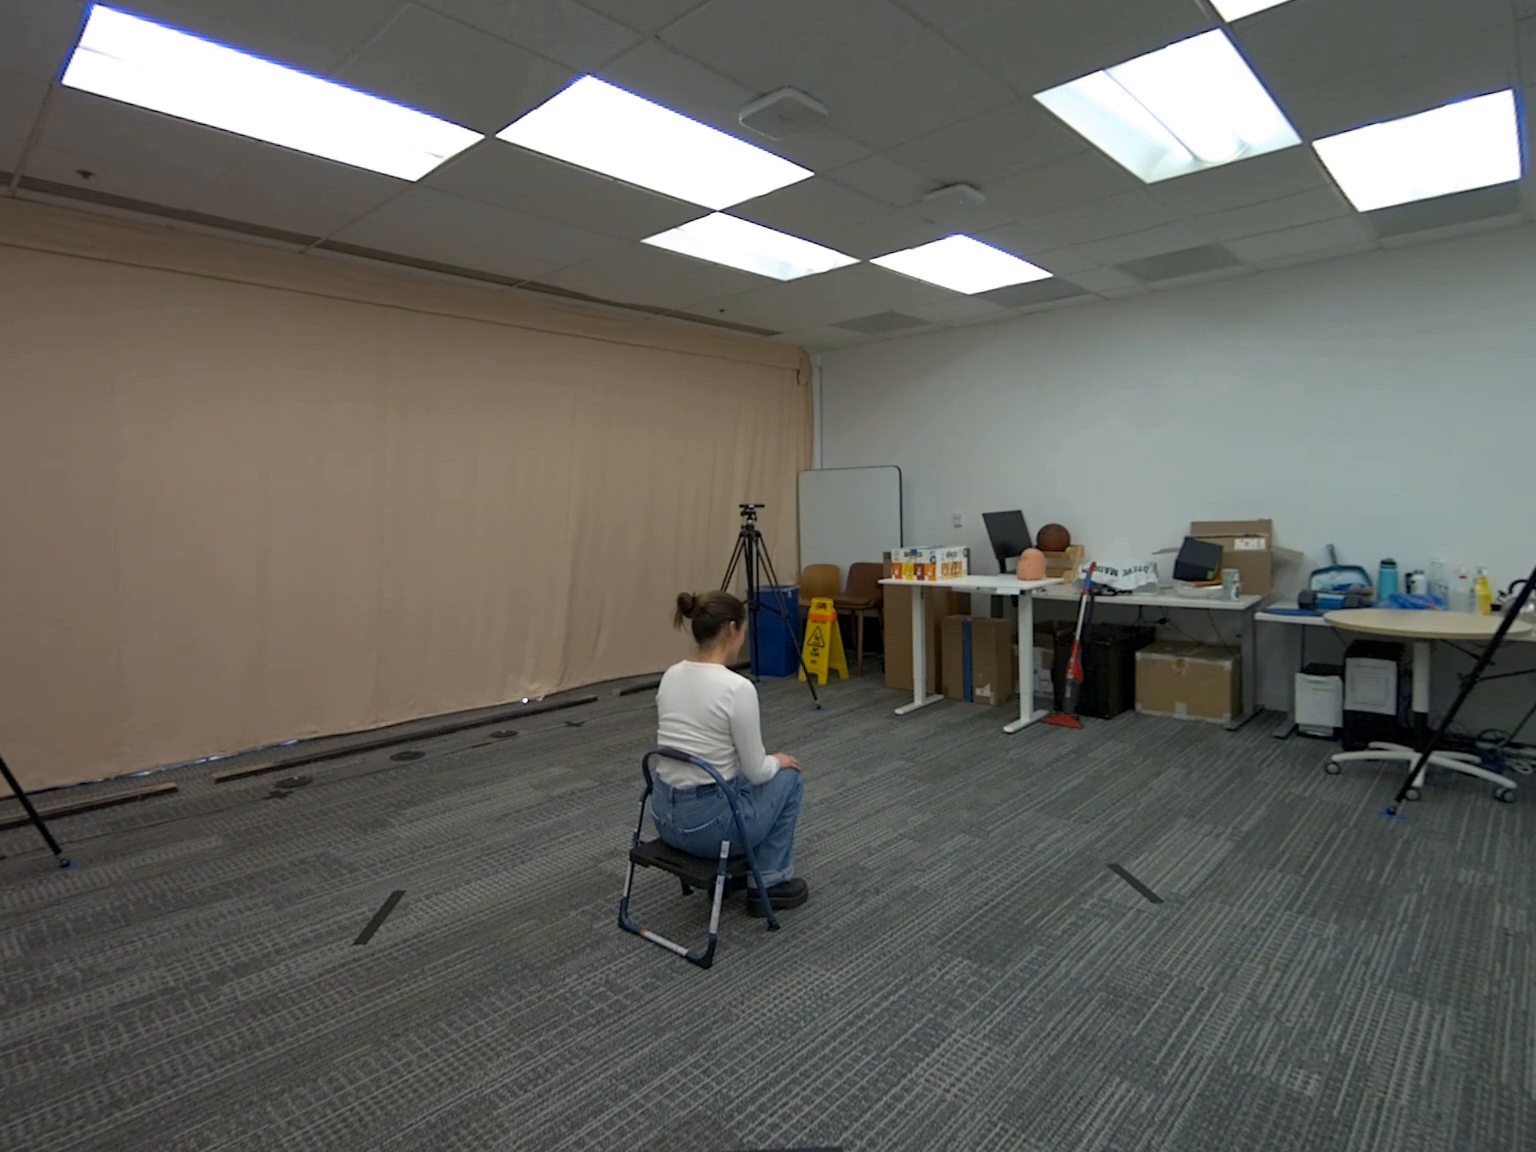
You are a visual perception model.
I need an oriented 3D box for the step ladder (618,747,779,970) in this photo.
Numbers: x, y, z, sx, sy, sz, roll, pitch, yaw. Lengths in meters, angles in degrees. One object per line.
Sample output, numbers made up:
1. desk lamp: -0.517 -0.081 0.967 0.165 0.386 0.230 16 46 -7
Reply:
1. step ladder: -0.240 0.860 2.766 0.445 0.605 0.339 2 4 40
